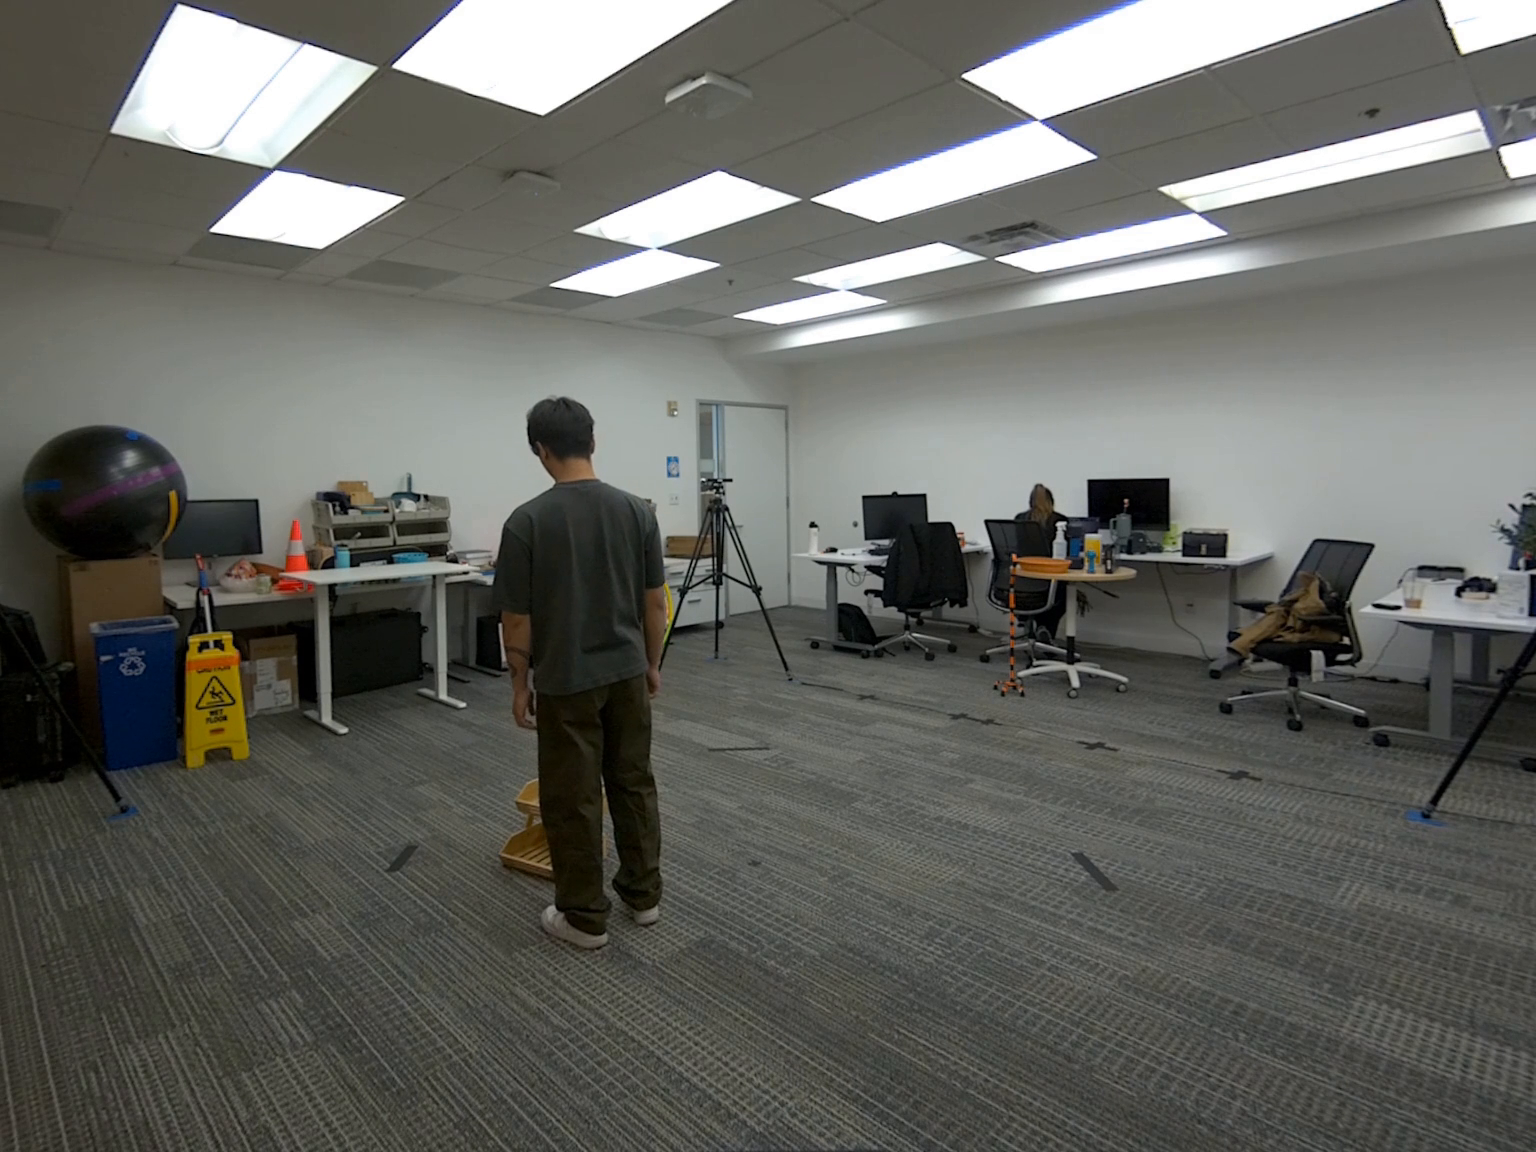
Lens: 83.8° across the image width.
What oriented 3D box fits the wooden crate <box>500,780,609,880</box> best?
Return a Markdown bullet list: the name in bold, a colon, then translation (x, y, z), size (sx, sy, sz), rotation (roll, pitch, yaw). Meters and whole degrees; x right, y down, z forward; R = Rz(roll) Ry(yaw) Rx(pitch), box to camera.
- **wooden crate**: translation (-0.782, 0.920, 3.158), size (0.333, 0.272, 0.295), rotation (2, 5, 30)
